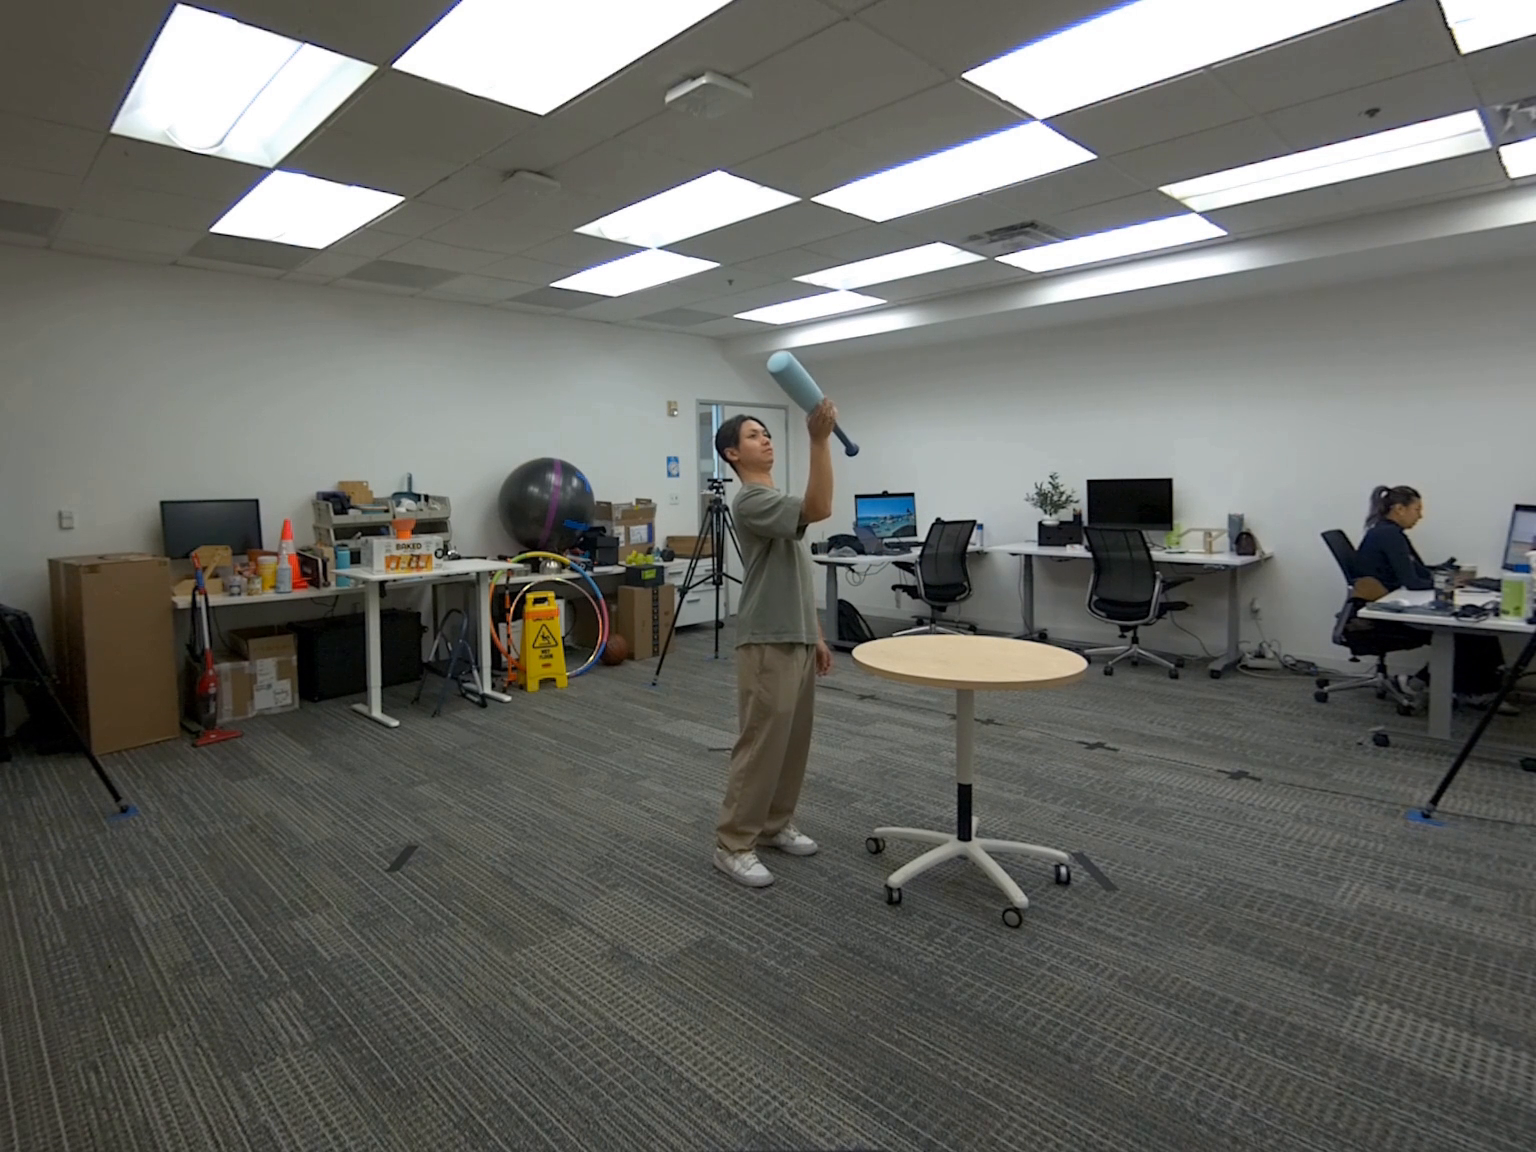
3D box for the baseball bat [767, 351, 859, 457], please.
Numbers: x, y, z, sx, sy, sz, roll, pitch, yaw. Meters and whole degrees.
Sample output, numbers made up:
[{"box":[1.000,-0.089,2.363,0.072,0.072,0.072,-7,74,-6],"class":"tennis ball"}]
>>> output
[{"box":[0.169,-0.534,2.740,0.091,0.090,0.522,3,-23,35],"class":"baseball bat"}]
